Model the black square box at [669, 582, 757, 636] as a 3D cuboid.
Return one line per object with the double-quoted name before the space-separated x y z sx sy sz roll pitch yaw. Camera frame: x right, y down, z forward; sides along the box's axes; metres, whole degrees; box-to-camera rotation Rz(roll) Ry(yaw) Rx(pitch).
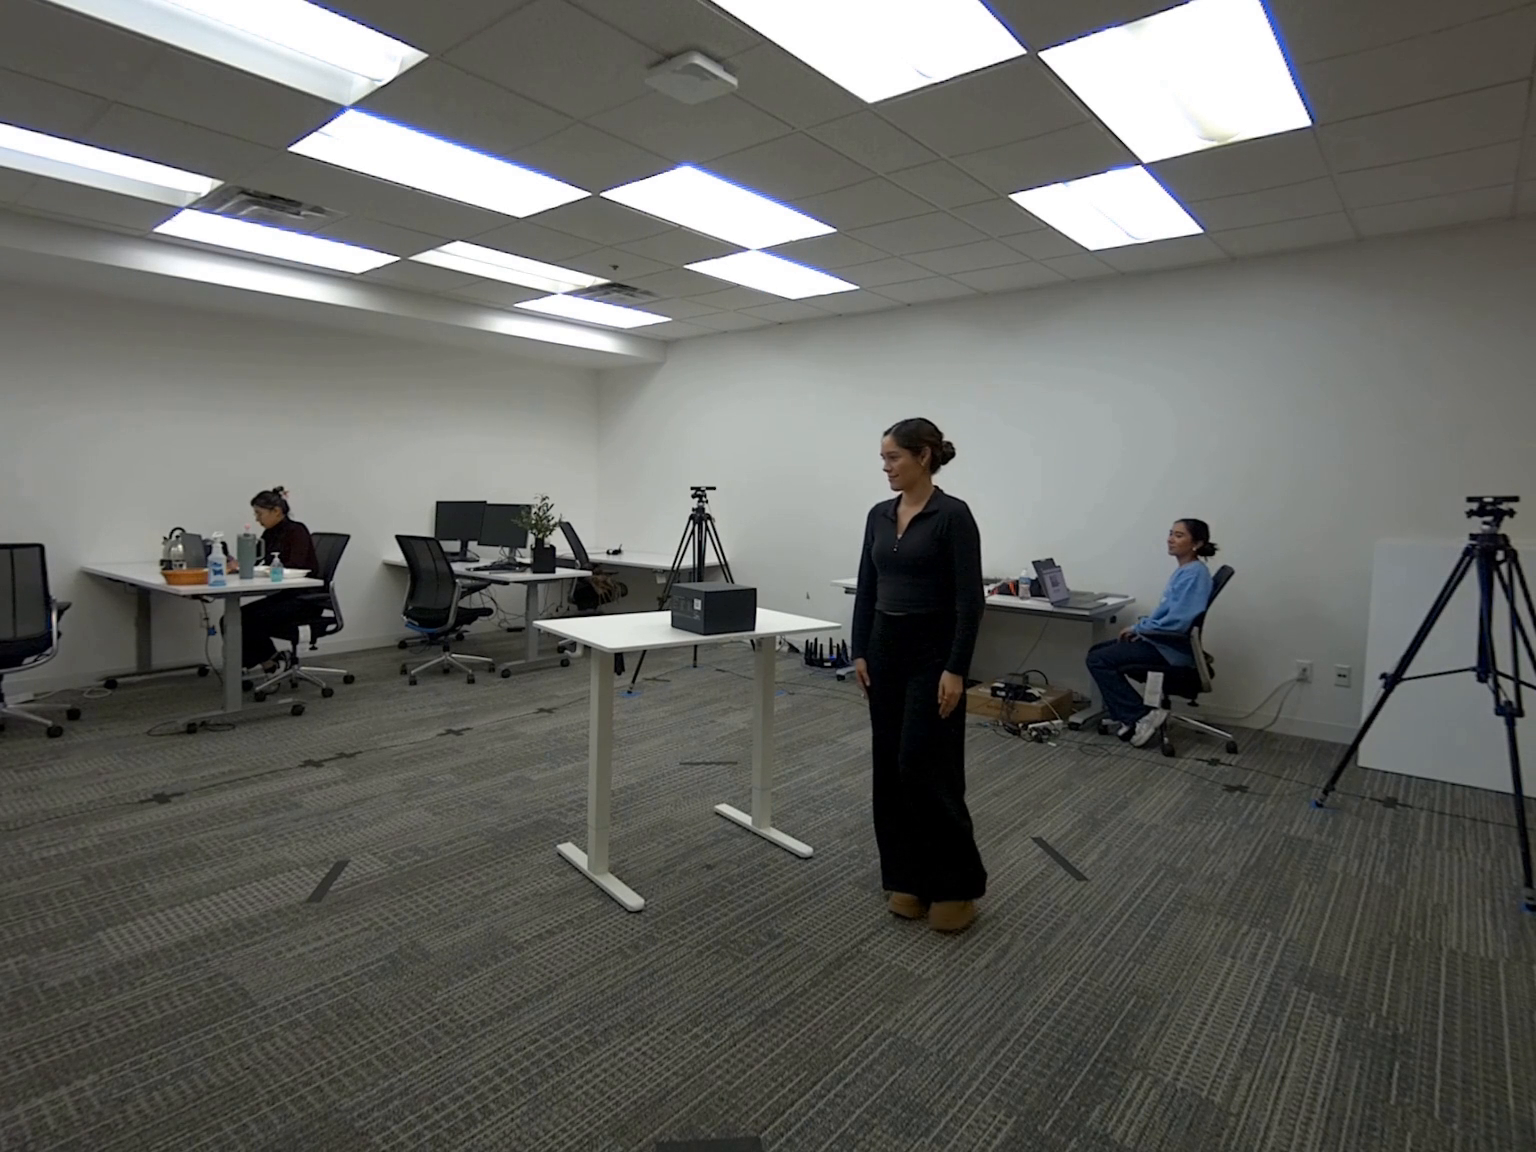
"black square box" -0.210 0.110 3.056 0.221 0.155 0.224 -2 6 -37
